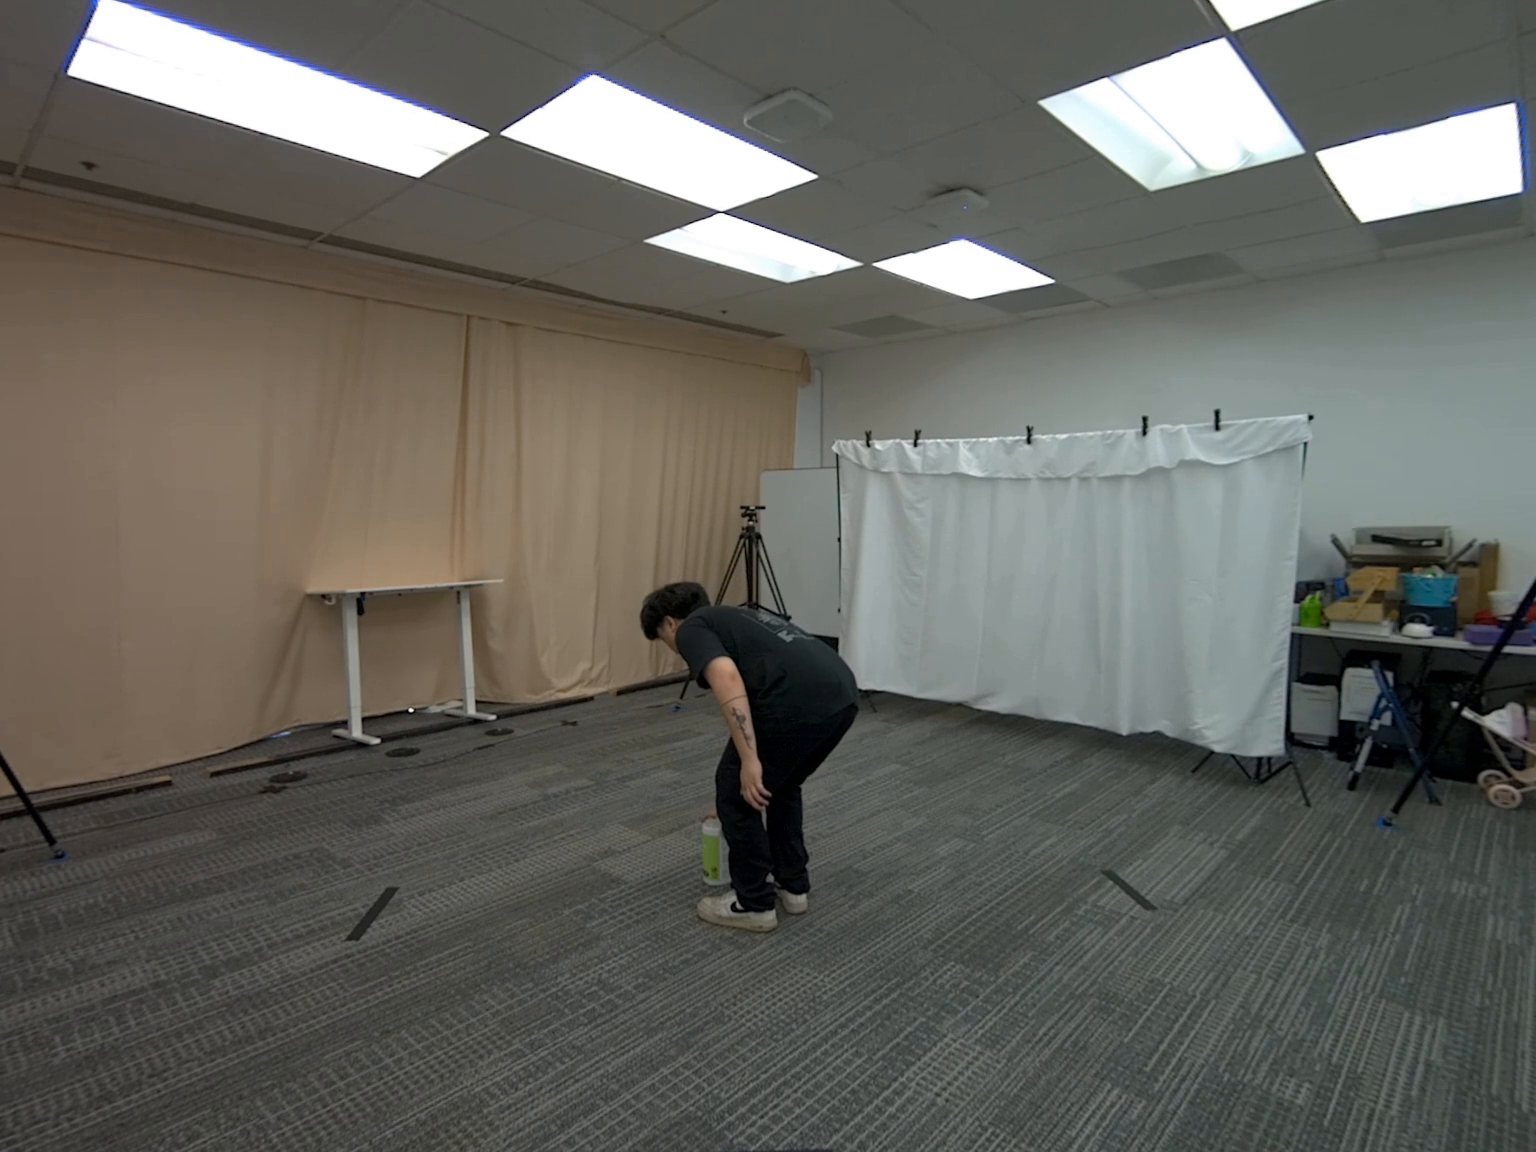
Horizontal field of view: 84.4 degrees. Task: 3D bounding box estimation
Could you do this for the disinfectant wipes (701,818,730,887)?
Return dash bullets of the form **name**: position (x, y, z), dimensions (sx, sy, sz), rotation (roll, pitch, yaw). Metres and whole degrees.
- **disinfectant wipes**: position (-0.191, 1.034, 3.137), dimensions (0.118, 0.217, 0.118), rotation (-2, 5, -2)
